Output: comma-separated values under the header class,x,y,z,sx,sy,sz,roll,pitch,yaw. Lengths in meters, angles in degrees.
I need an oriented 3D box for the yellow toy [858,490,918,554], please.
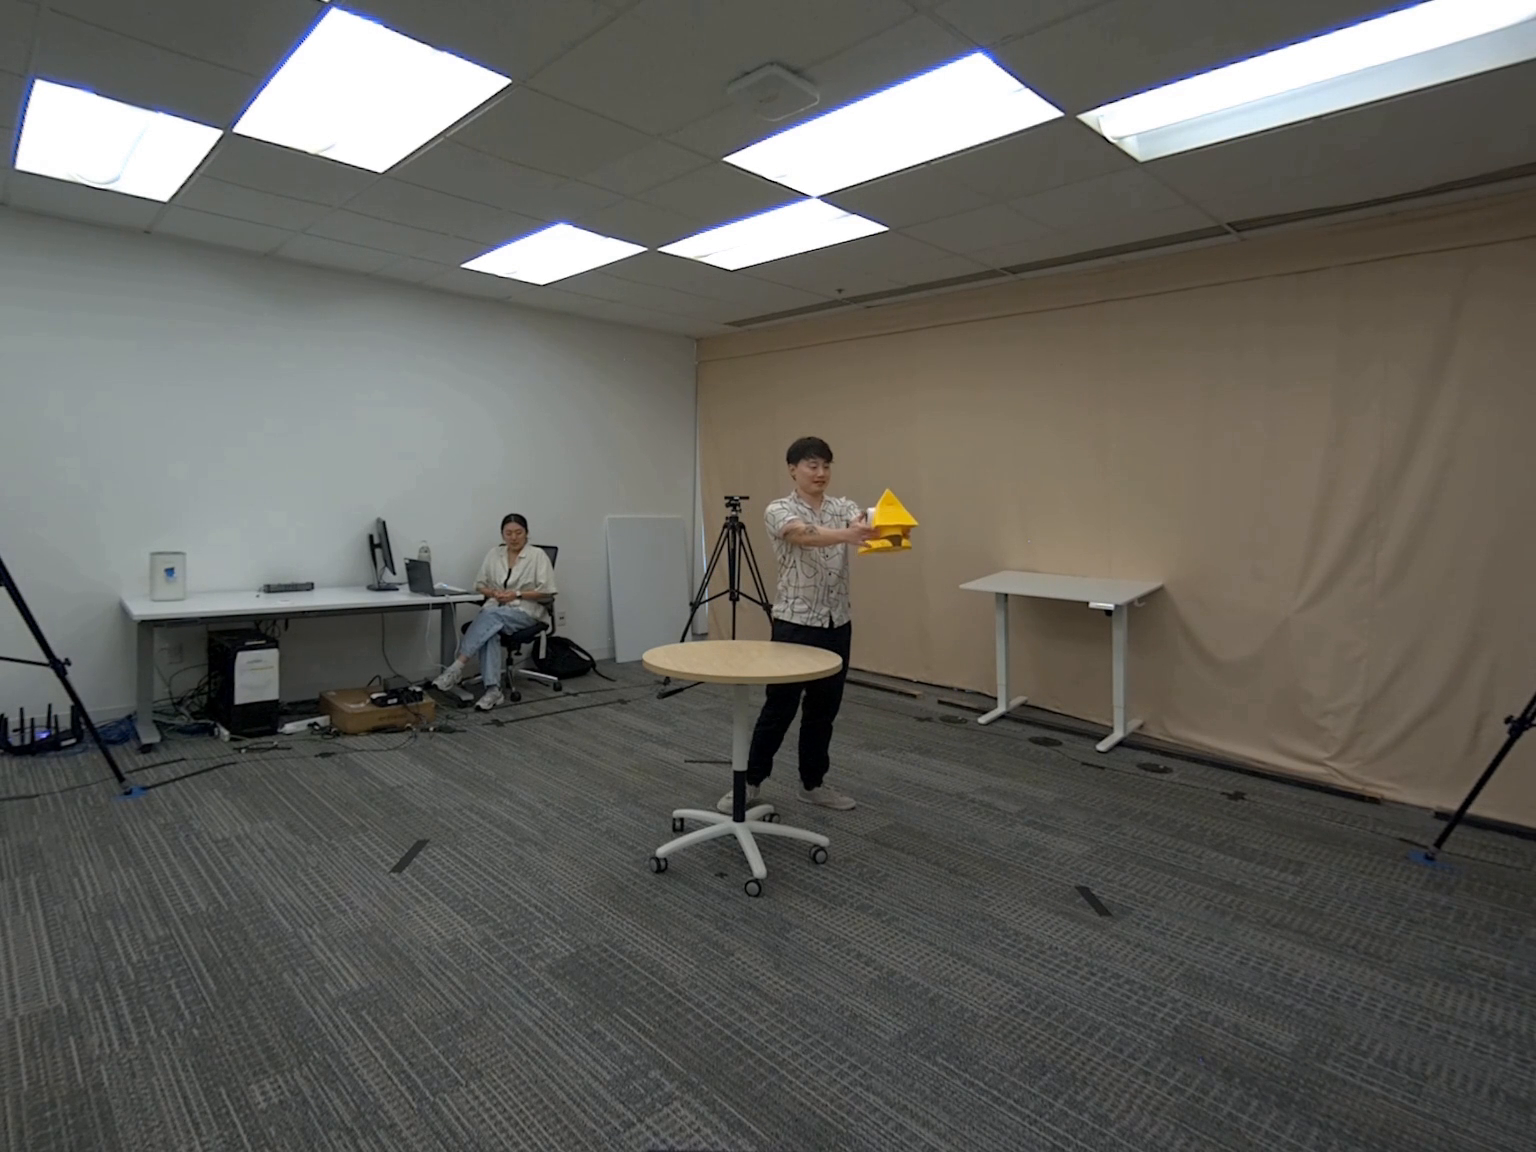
class,x,y,z,sx,sy,sz,roll,pitch,yaw
yellow toy,0.432,-0.214,3.297,0.201,0.232,0.195,-2,-11,-29
